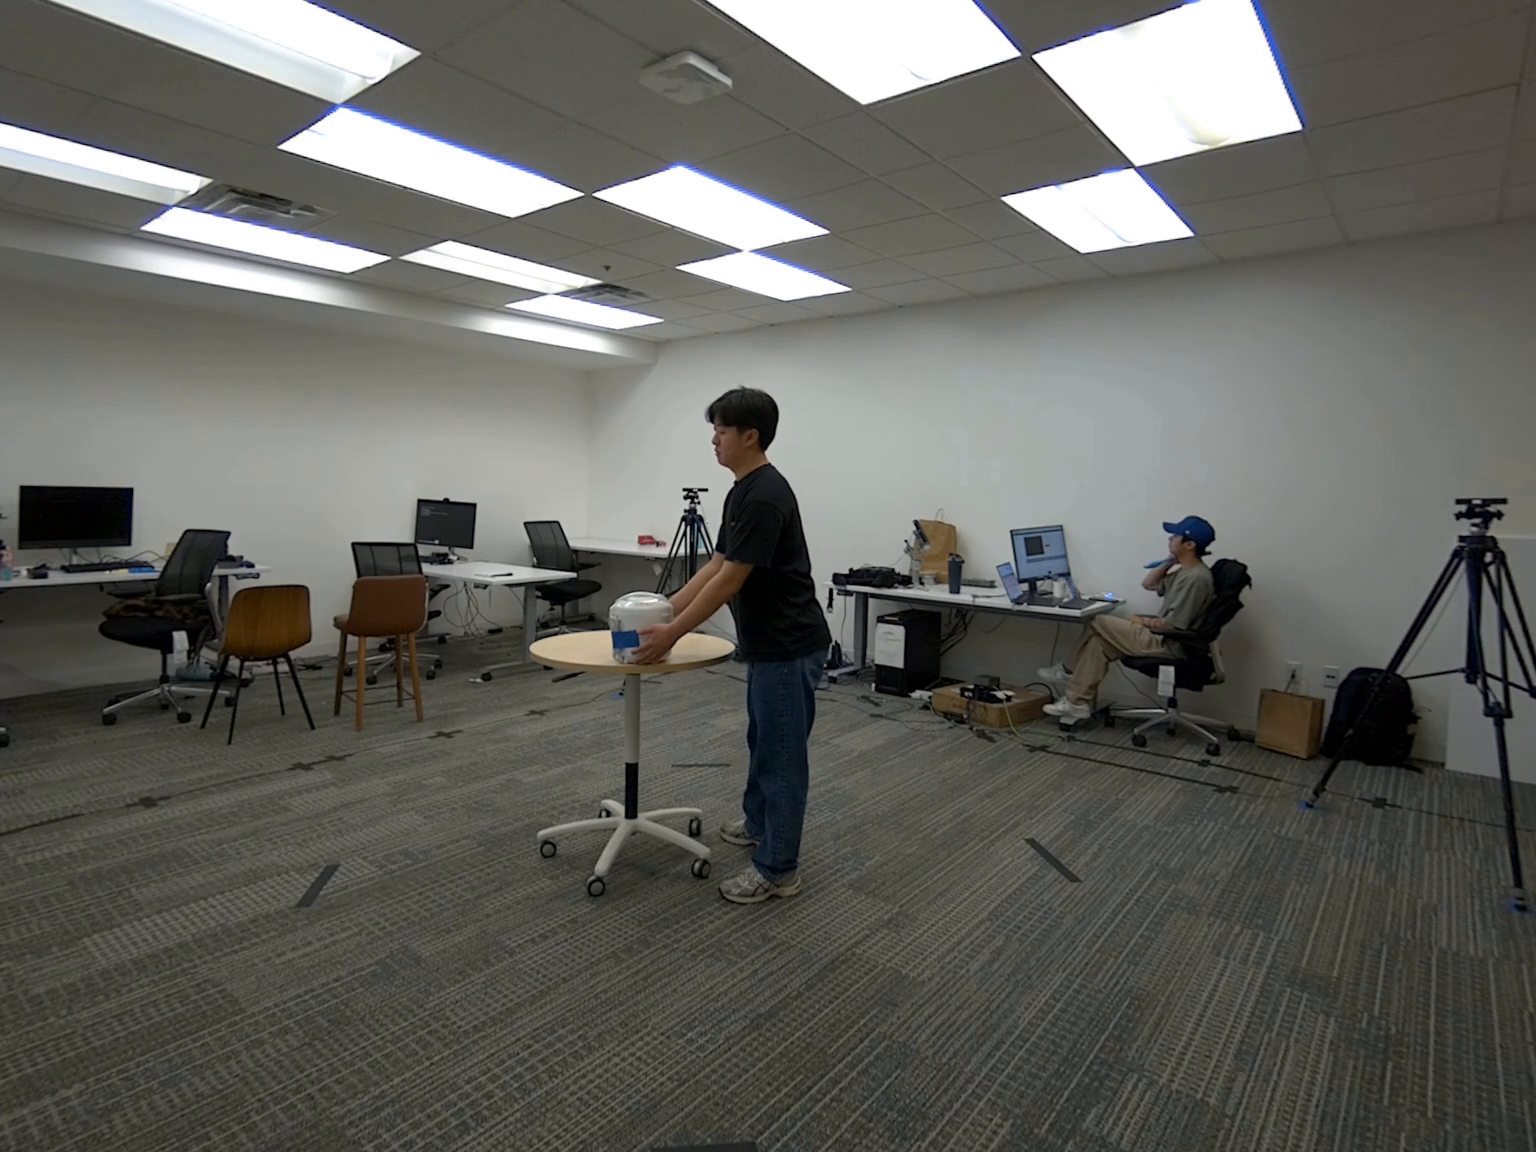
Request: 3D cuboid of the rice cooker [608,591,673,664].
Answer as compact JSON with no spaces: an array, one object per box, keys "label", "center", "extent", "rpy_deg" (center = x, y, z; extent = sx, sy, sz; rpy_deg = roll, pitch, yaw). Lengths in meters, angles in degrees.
[{"label":"rice cooker","center":[-0.448,0.169,2.929],"extent":[0.220,0.232,0.218],"rpy_deg":[1,3,-2]}]
